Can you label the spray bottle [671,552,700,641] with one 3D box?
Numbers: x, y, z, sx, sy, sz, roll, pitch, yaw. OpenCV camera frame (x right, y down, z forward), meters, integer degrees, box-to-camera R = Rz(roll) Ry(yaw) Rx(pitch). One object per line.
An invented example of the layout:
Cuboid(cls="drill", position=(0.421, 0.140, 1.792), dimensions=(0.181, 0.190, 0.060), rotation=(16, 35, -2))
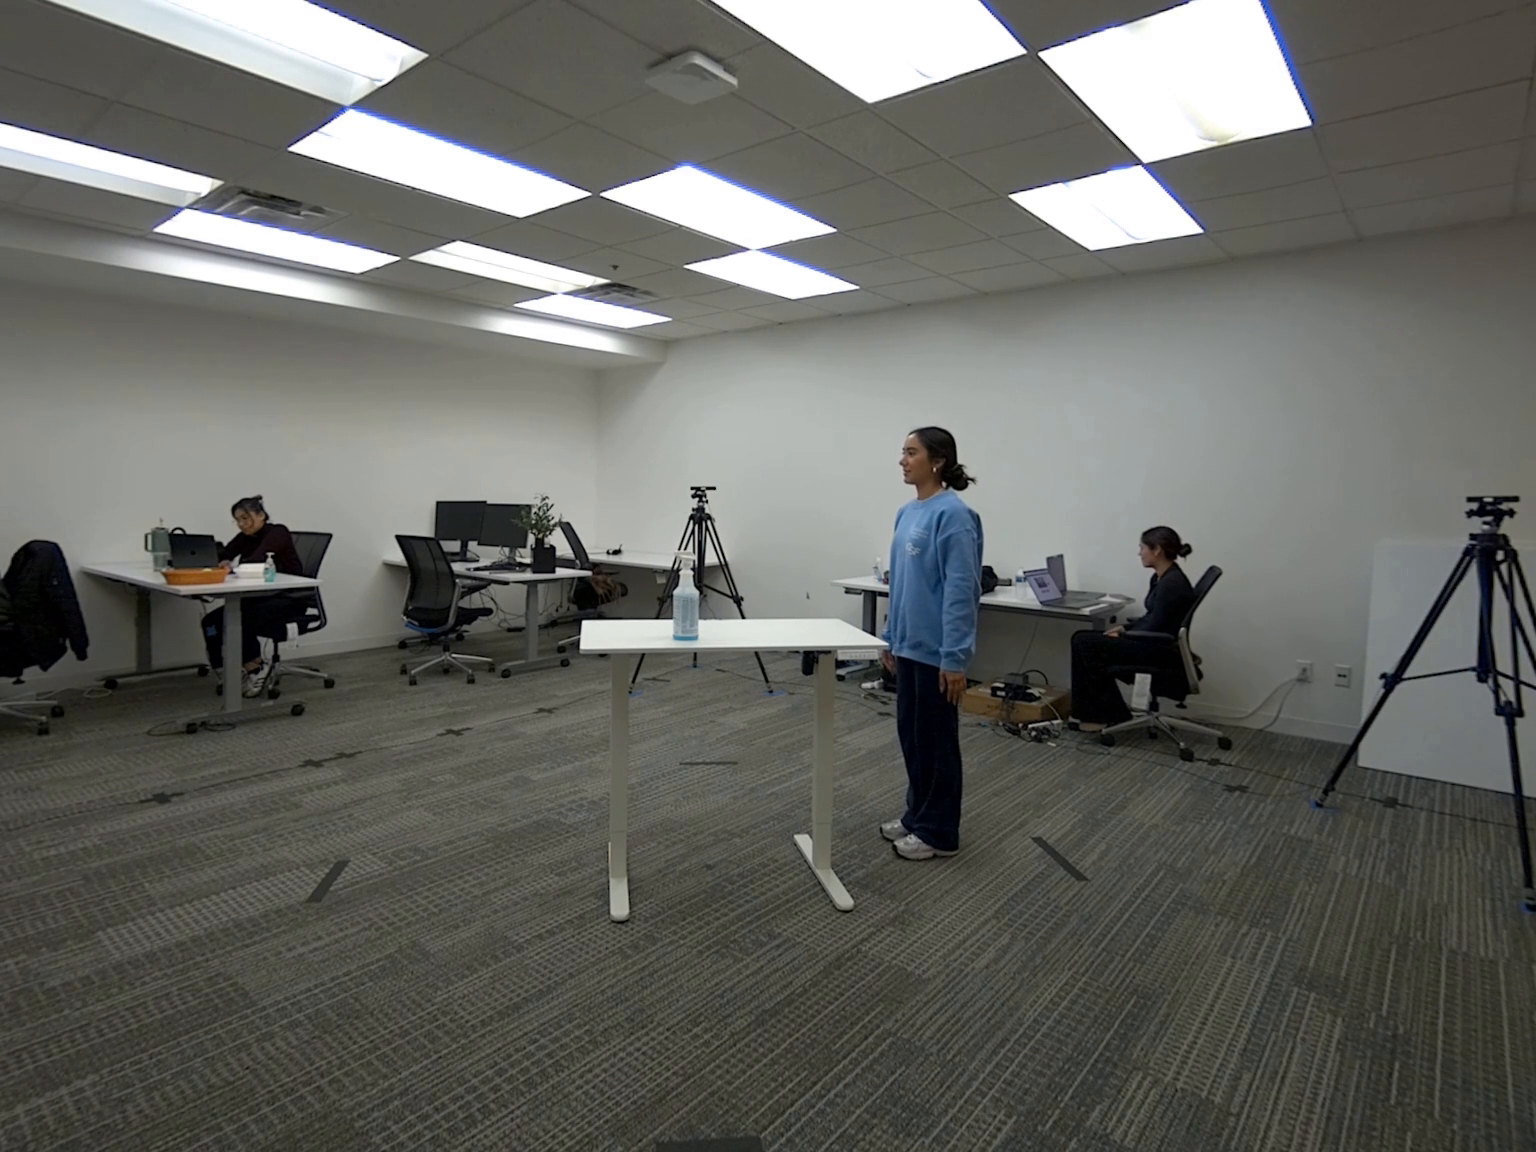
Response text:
Cuboid(cls="spray bottle", position=(-0.287, 0.064, 2.836), dimensions=(0.088, 0.297, 0.089), rotation=(-1, 2, -20))
